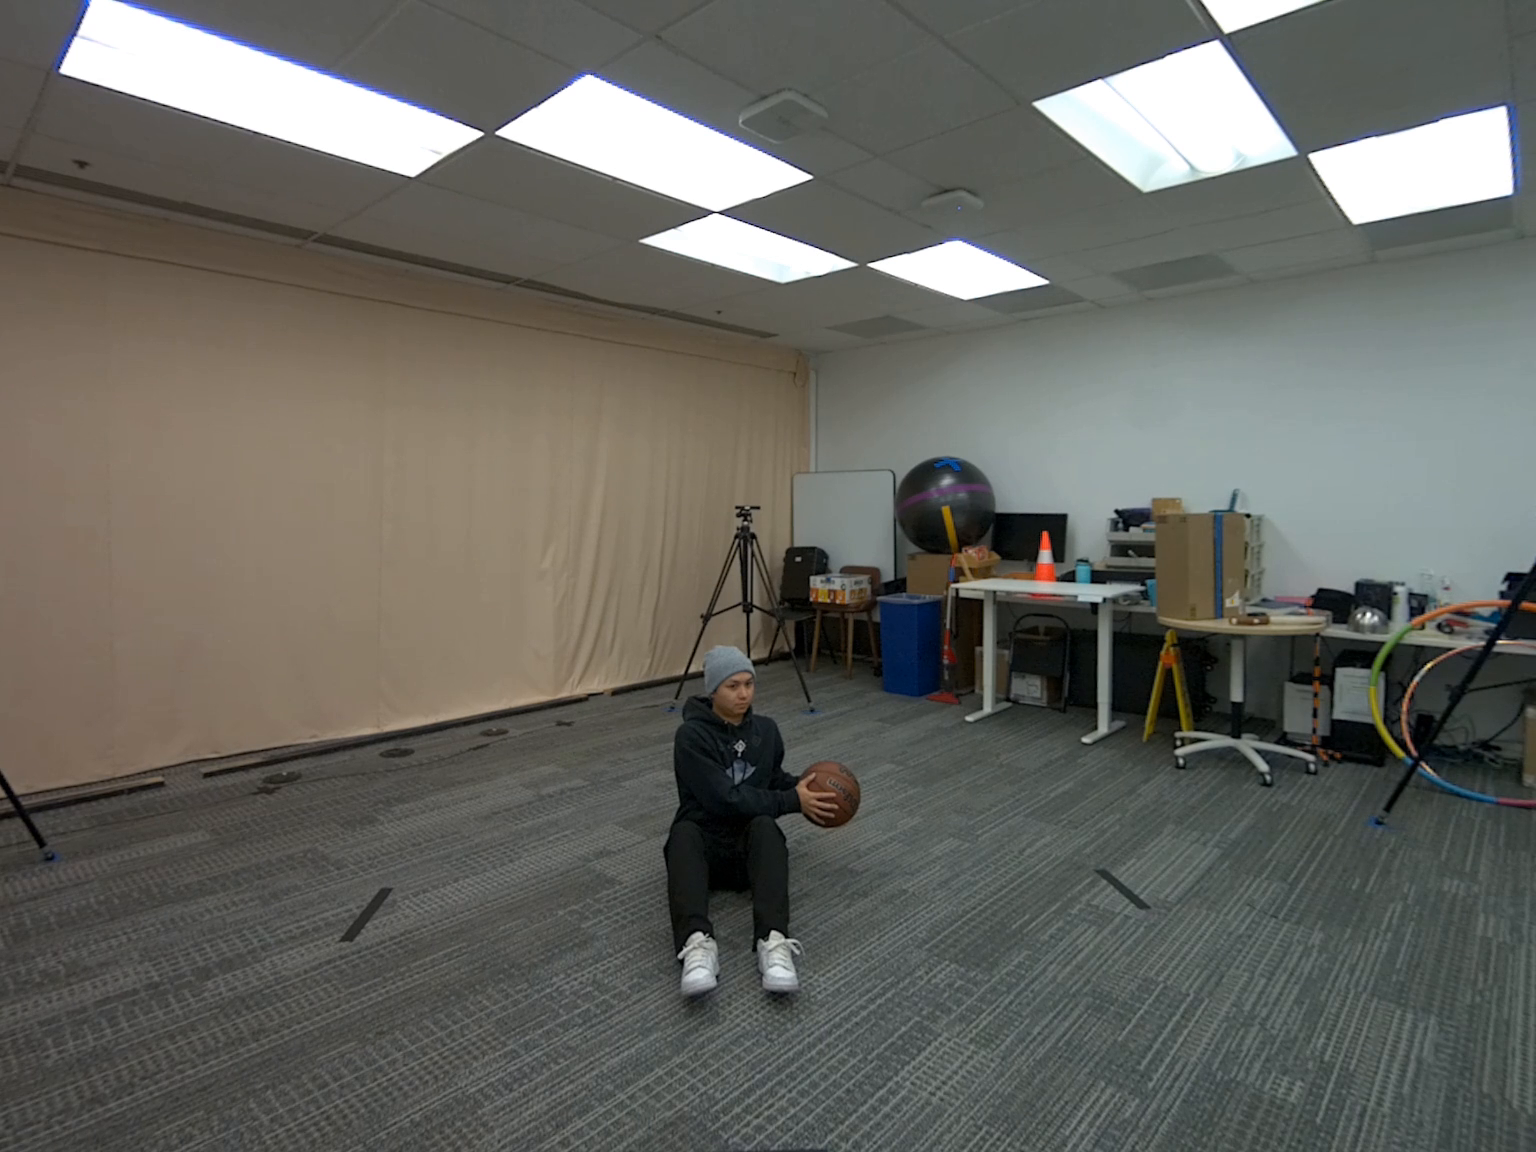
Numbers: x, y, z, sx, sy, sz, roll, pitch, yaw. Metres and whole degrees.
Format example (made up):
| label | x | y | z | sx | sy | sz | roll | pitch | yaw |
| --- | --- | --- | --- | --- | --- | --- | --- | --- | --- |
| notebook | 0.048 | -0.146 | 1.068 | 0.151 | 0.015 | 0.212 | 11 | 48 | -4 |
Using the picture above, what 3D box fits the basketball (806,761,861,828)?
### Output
| label | x | y | z | sx | sy | sz | roll | pitch | yaw |
| --- | --- | --- | --- | --- | --- | --- | --- | --- | --- |
| basketball | 0.226 | 0.808 | 3.097 | 0.236 | 0.235 | 0.237 | 0 | 4 | -2 |
